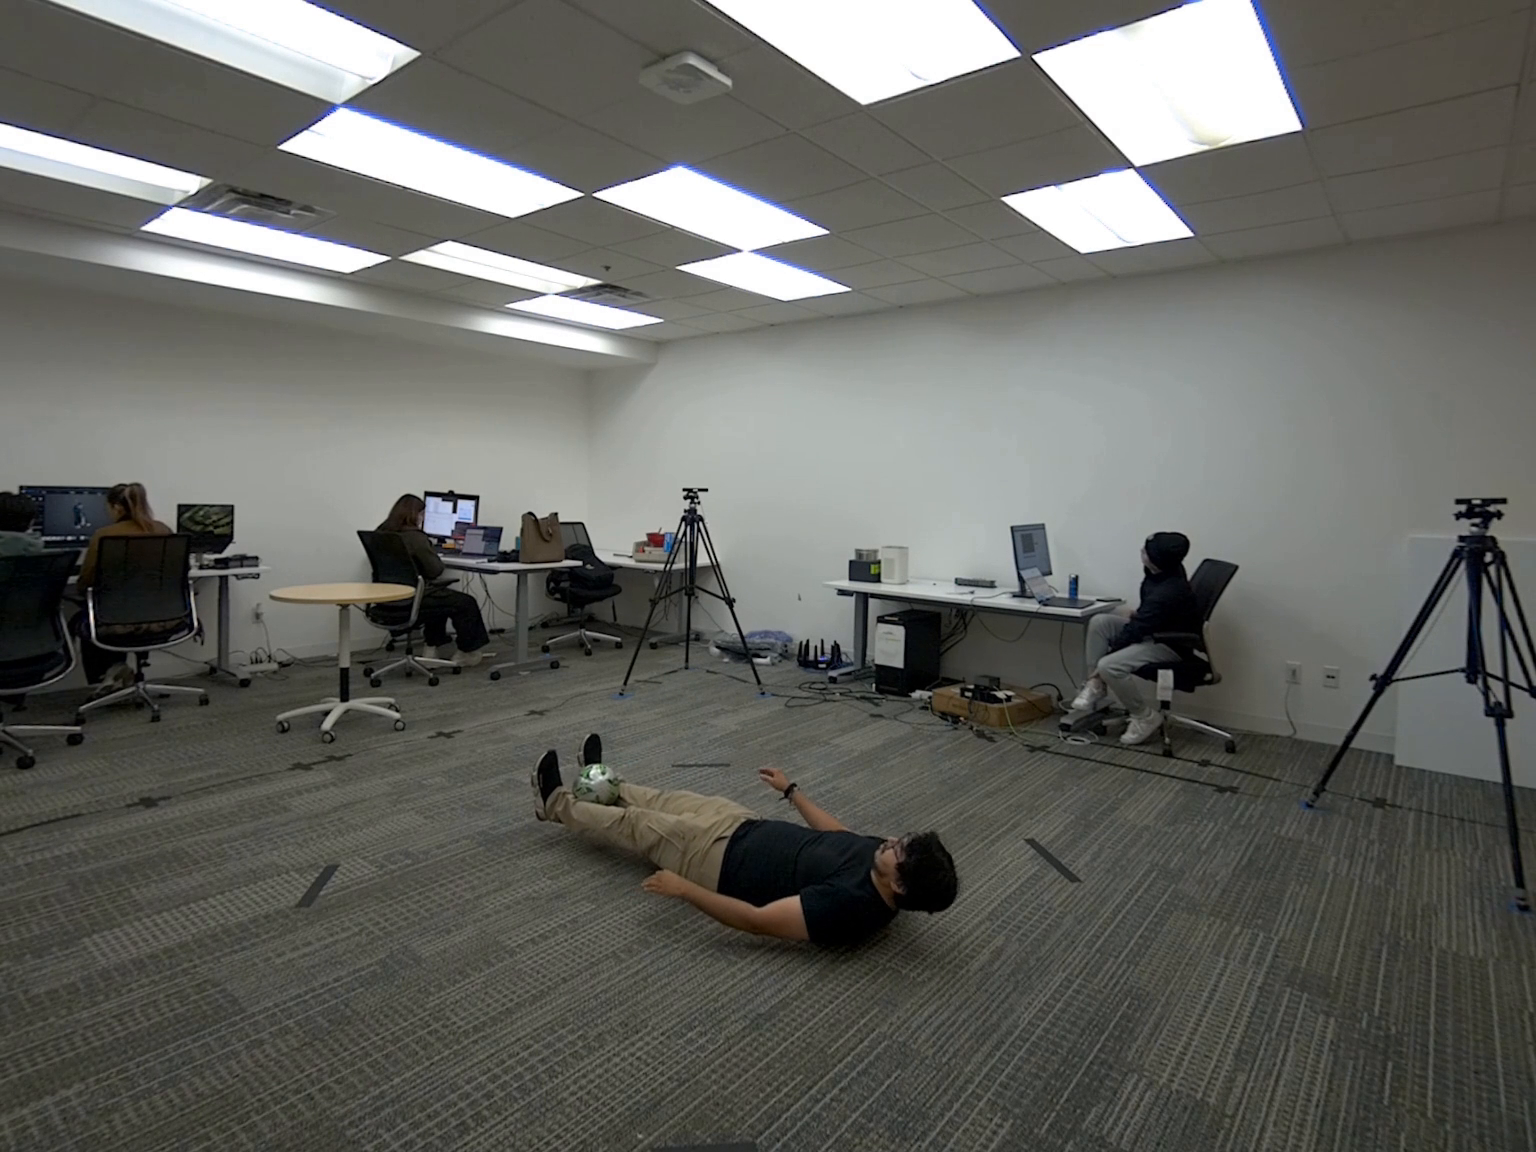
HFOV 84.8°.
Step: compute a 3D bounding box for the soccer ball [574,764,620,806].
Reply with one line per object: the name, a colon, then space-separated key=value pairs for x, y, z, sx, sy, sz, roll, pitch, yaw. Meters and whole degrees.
soccer ball: x=-0.699 y=0.846 z=3.372 sx=0.187 sy=0.187 sz=0.188 roll=0 pitch=4 yaw=-2
